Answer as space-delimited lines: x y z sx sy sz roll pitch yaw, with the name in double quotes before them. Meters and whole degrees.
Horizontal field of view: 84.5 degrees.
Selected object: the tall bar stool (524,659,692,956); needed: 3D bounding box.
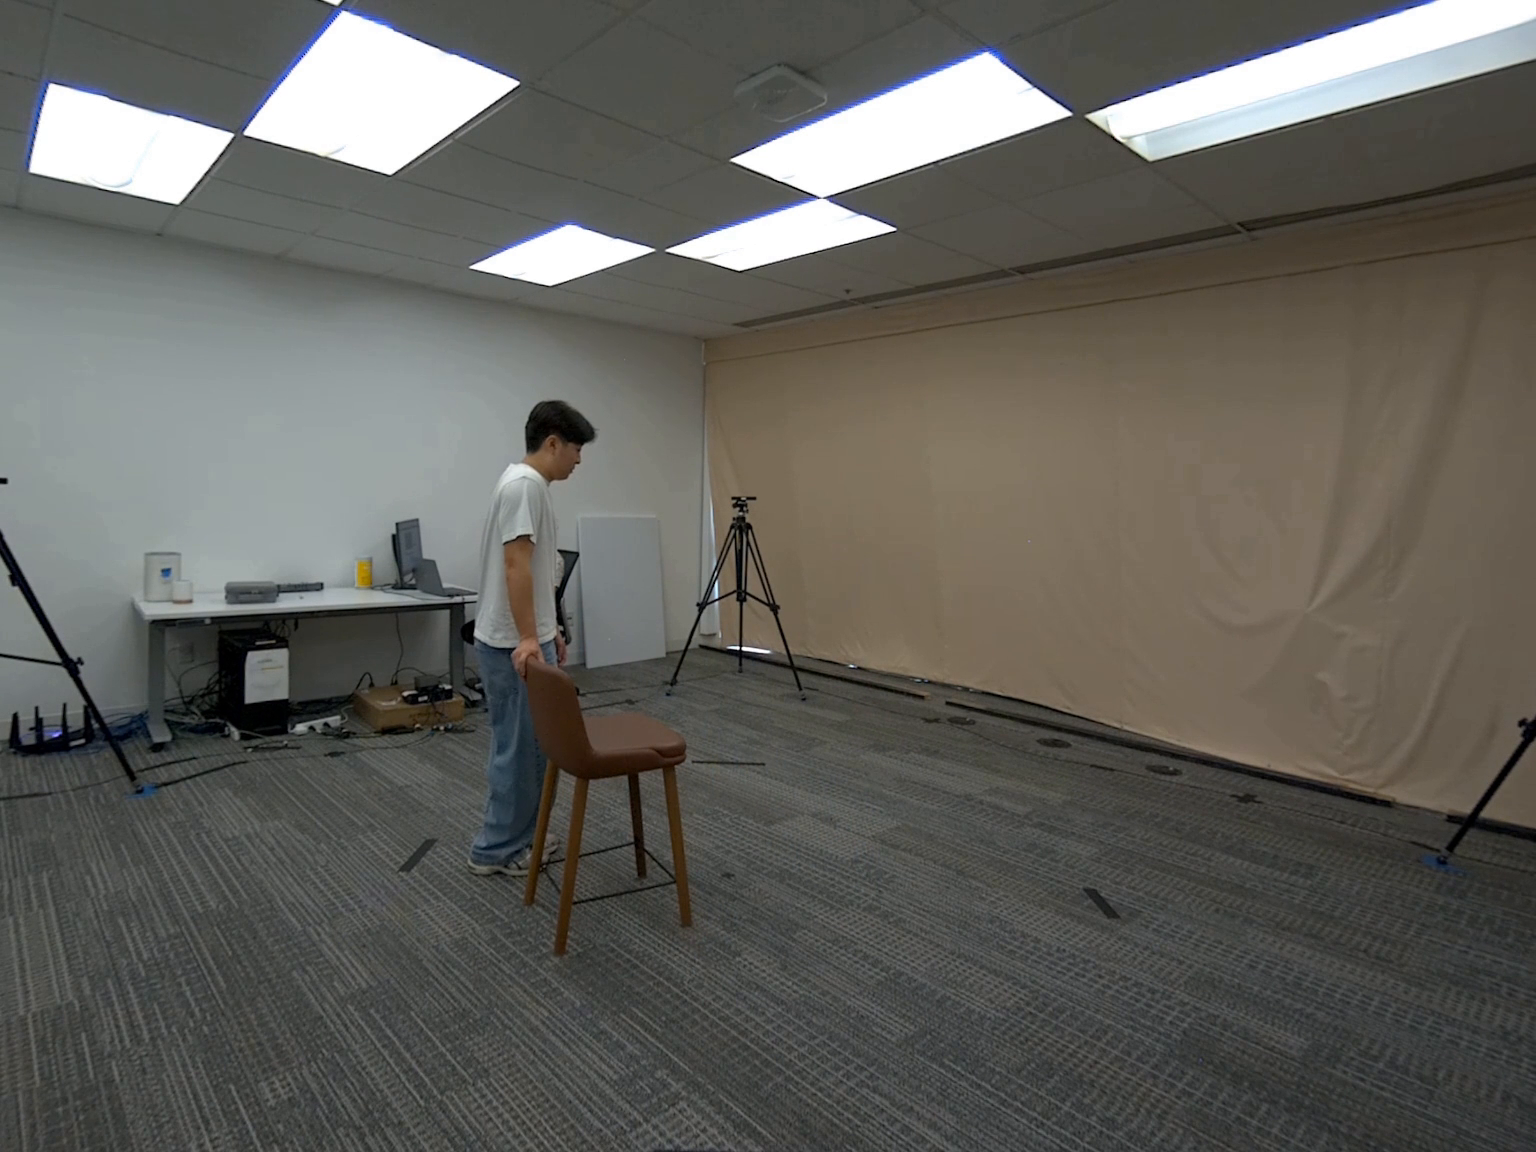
"tall bar stool" -0.542 0.693 2.768 0.458 0.887 0.467 -3 5 -30
